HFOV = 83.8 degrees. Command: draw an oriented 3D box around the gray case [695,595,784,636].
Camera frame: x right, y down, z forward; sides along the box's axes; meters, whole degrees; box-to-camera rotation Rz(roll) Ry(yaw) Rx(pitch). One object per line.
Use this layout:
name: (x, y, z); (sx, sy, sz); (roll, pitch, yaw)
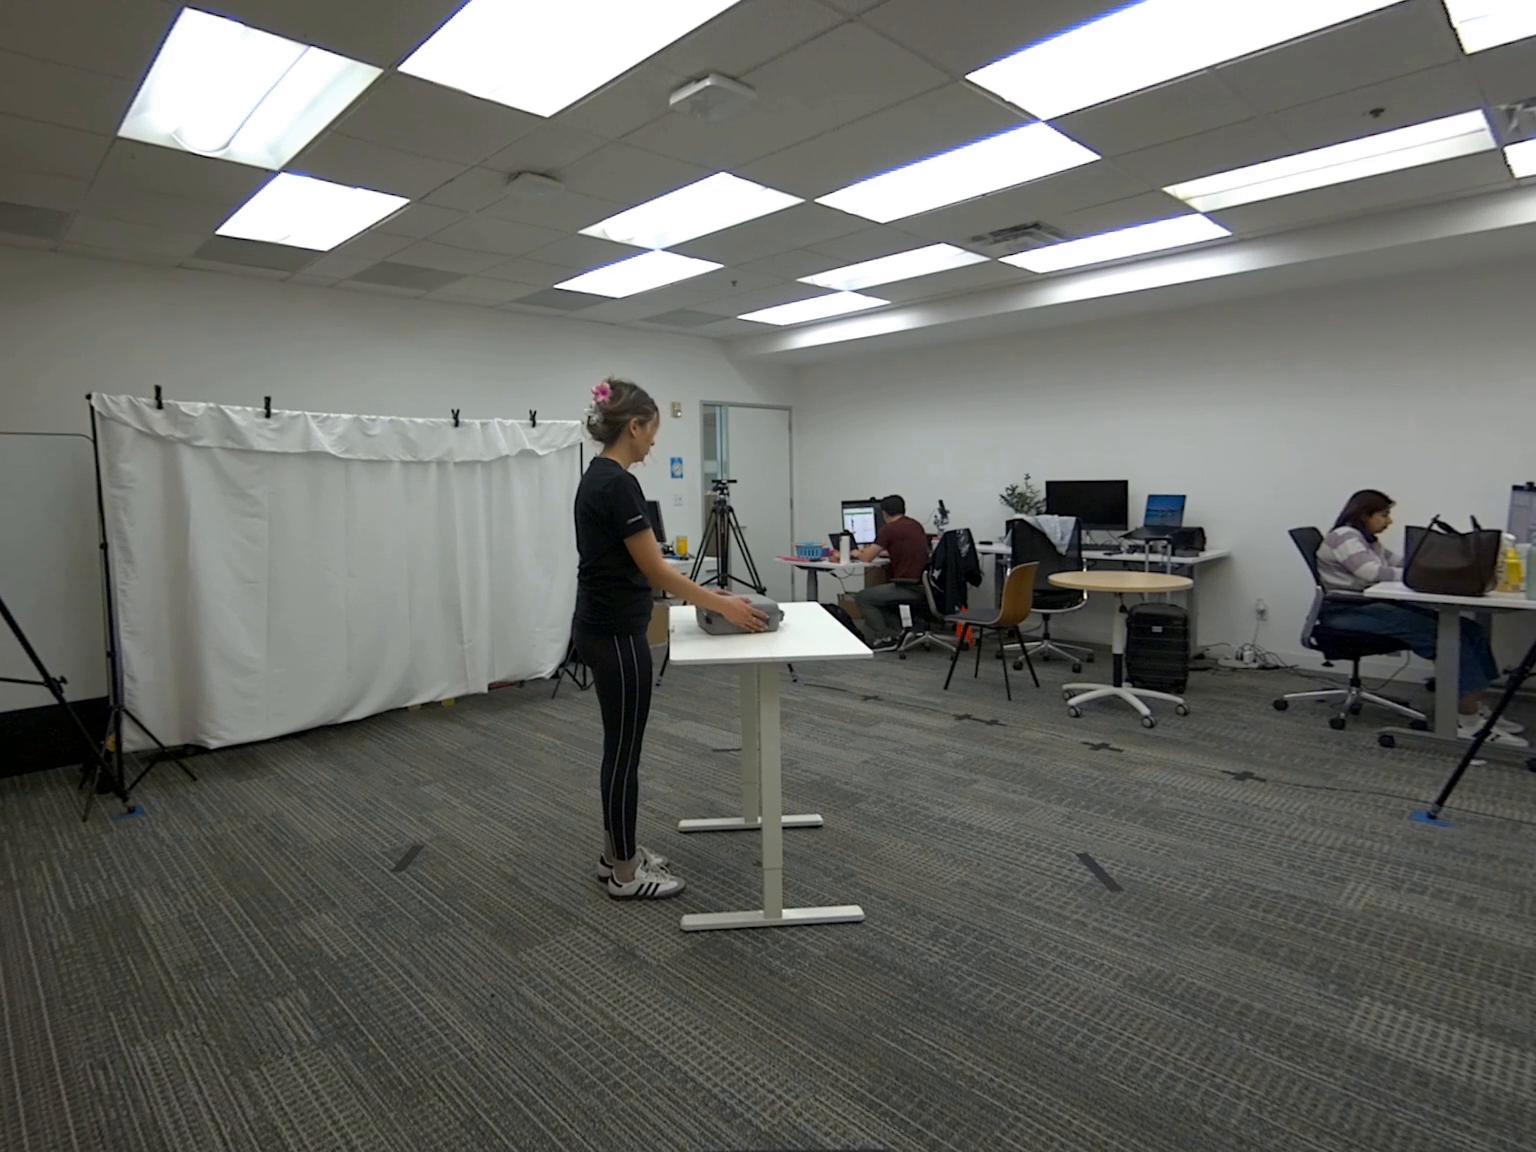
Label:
gray case: (-0.105, 0.130, 2.984); (0.257, 0.104, 0.261); (-1, 5, -15)
